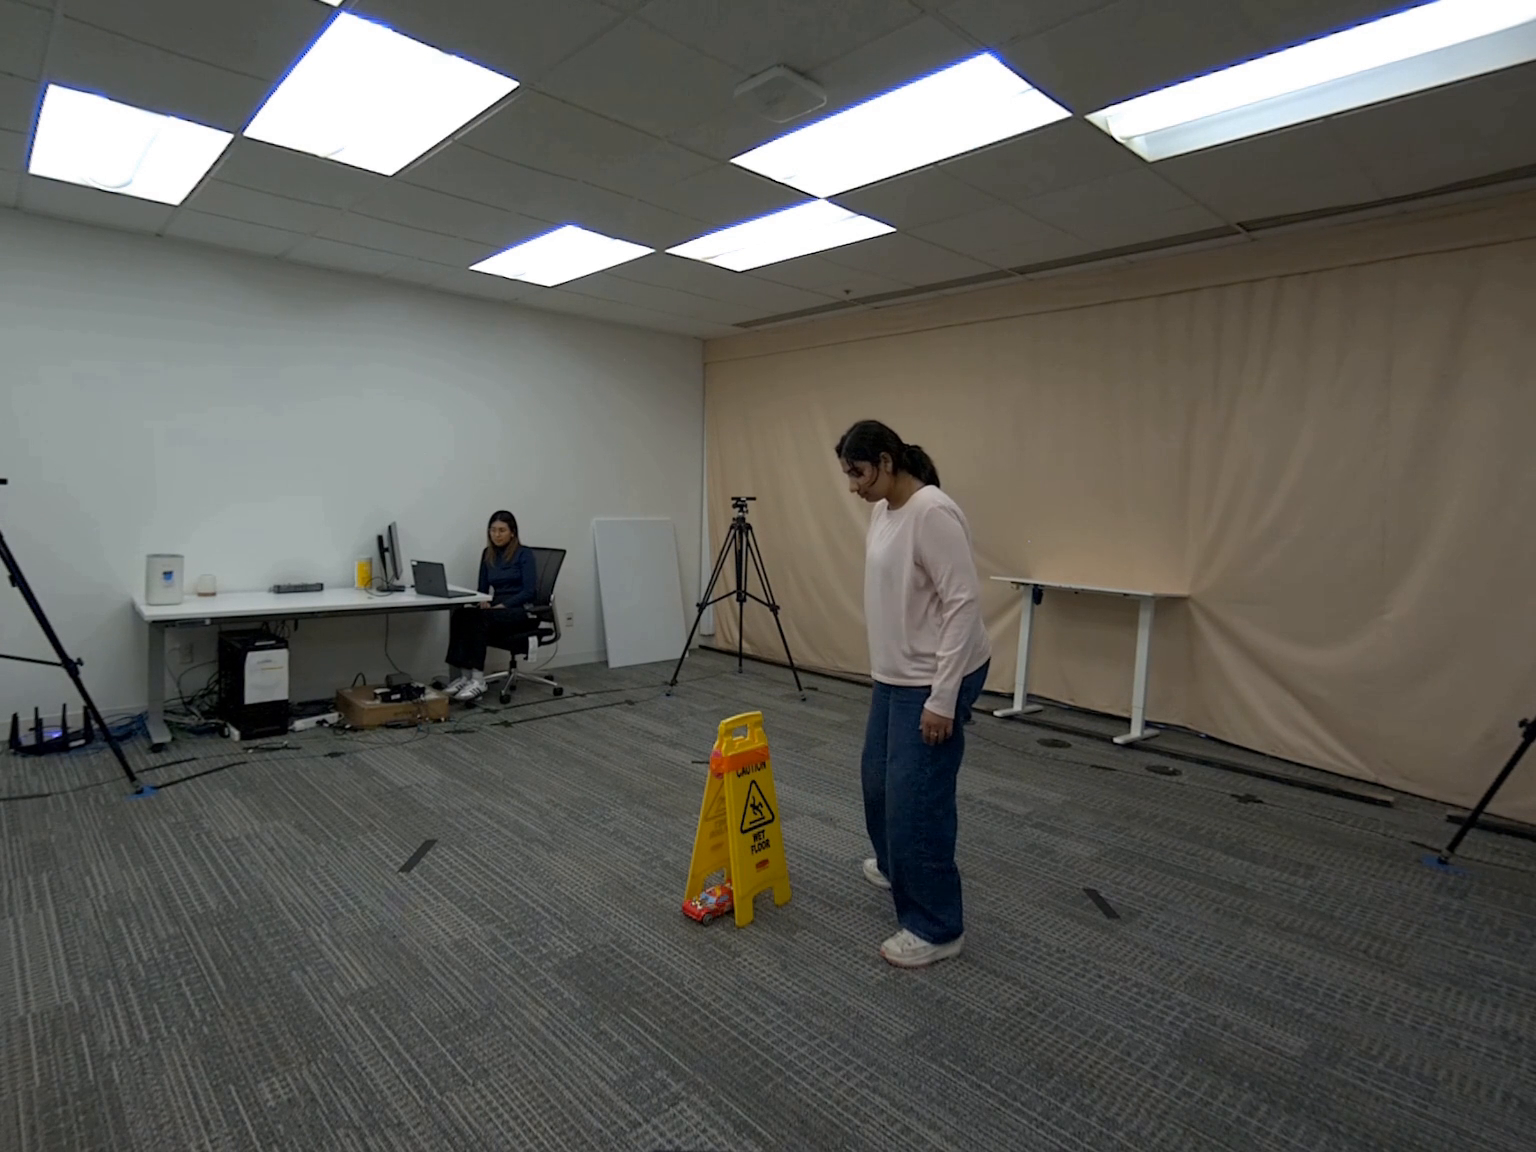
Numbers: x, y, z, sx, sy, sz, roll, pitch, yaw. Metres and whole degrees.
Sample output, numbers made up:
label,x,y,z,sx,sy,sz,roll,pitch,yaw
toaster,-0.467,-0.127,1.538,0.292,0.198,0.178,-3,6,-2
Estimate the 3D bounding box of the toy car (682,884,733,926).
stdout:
label,x,y,z,sx,sy,sz,roll,pitch,yaw
toy car,-0.174,1.096,2.842,0.250,0.082,0.133,-17,14,-41
